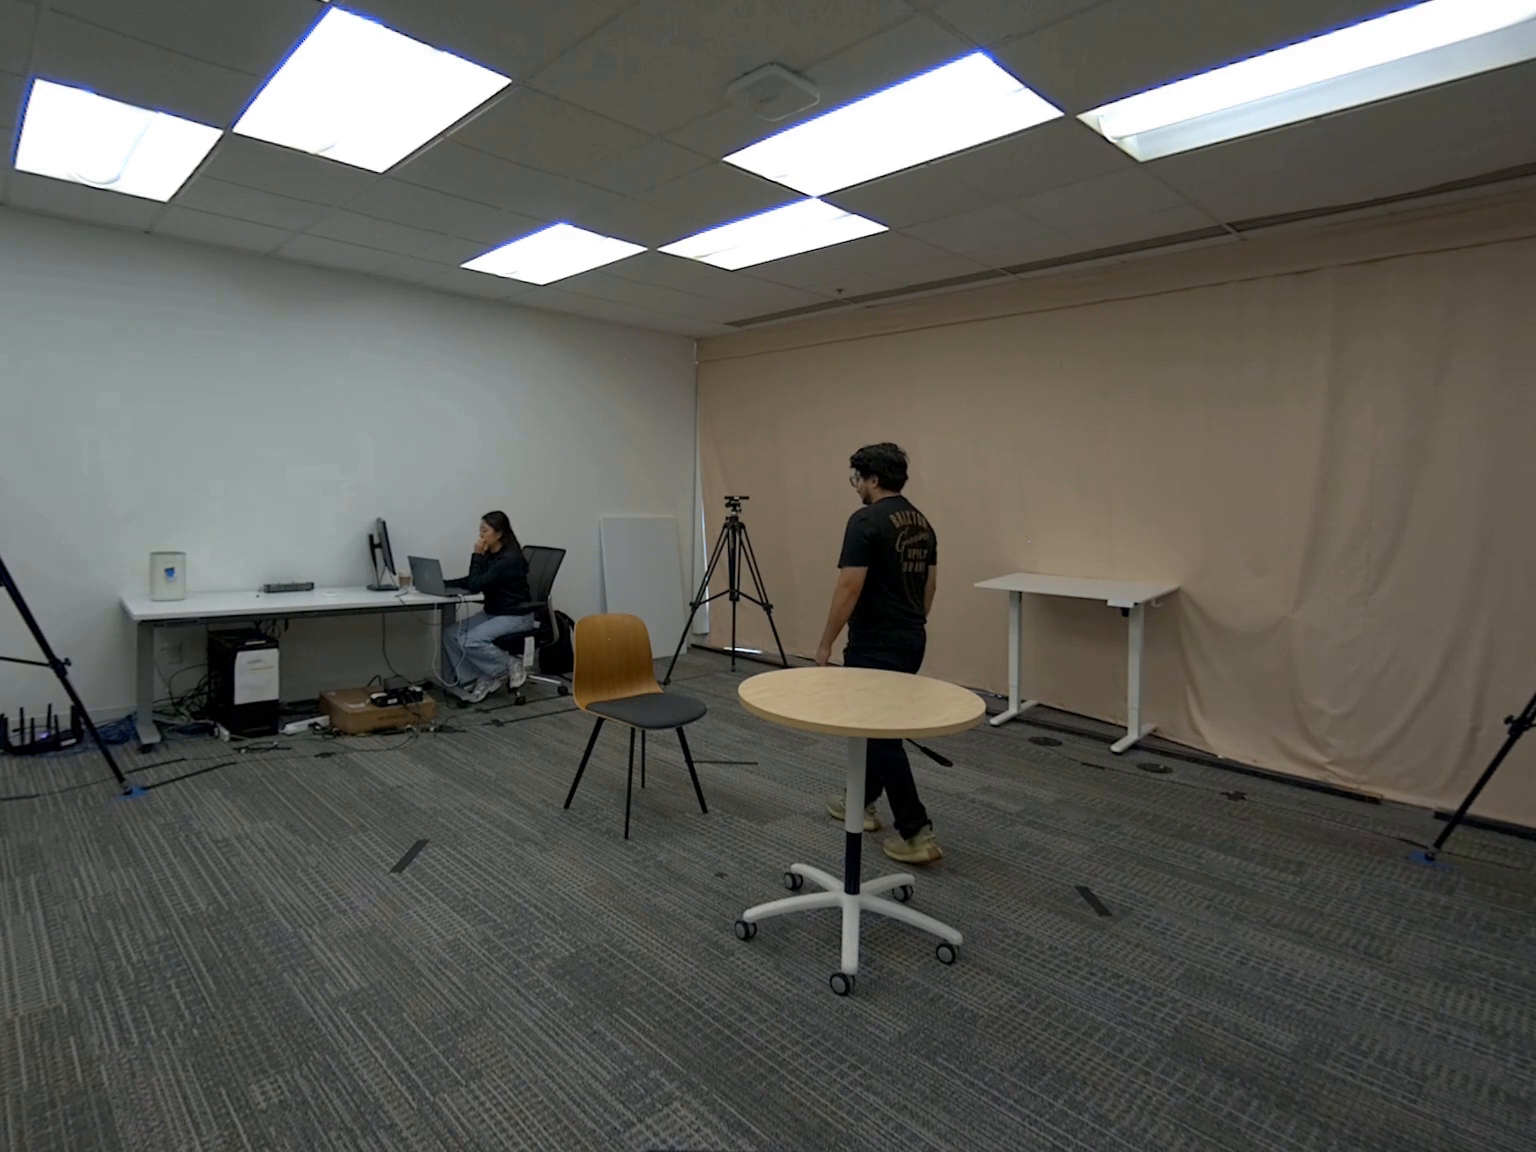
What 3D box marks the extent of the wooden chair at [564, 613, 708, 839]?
[{"bbox_3d":[-0.569,0.611,3.676,0.467,0.878,0.535,-1,0,-45],"label":"wooden chair"}]
